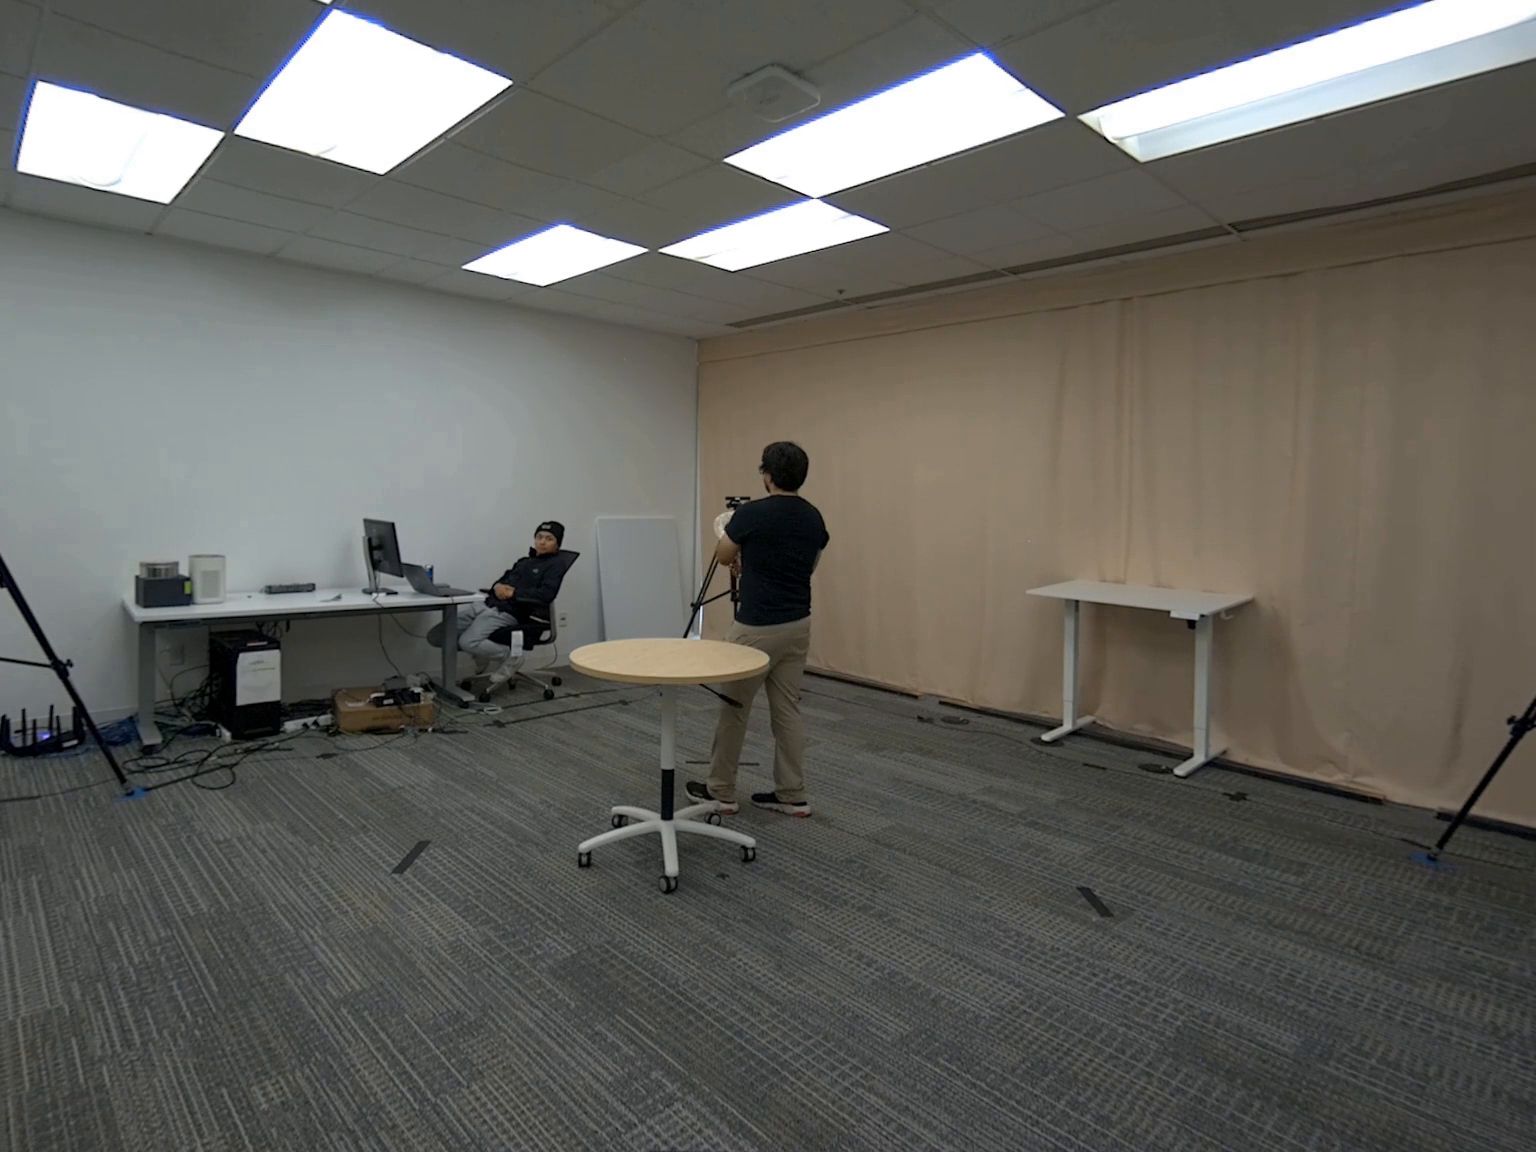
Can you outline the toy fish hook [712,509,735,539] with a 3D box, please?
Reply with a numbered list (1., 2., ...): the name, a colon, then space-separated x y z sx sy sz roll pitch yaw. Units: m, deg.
1. toy fish hook: -0.146 -0.171 4.213 0.224 0.047 0.521 -18 45 -1
